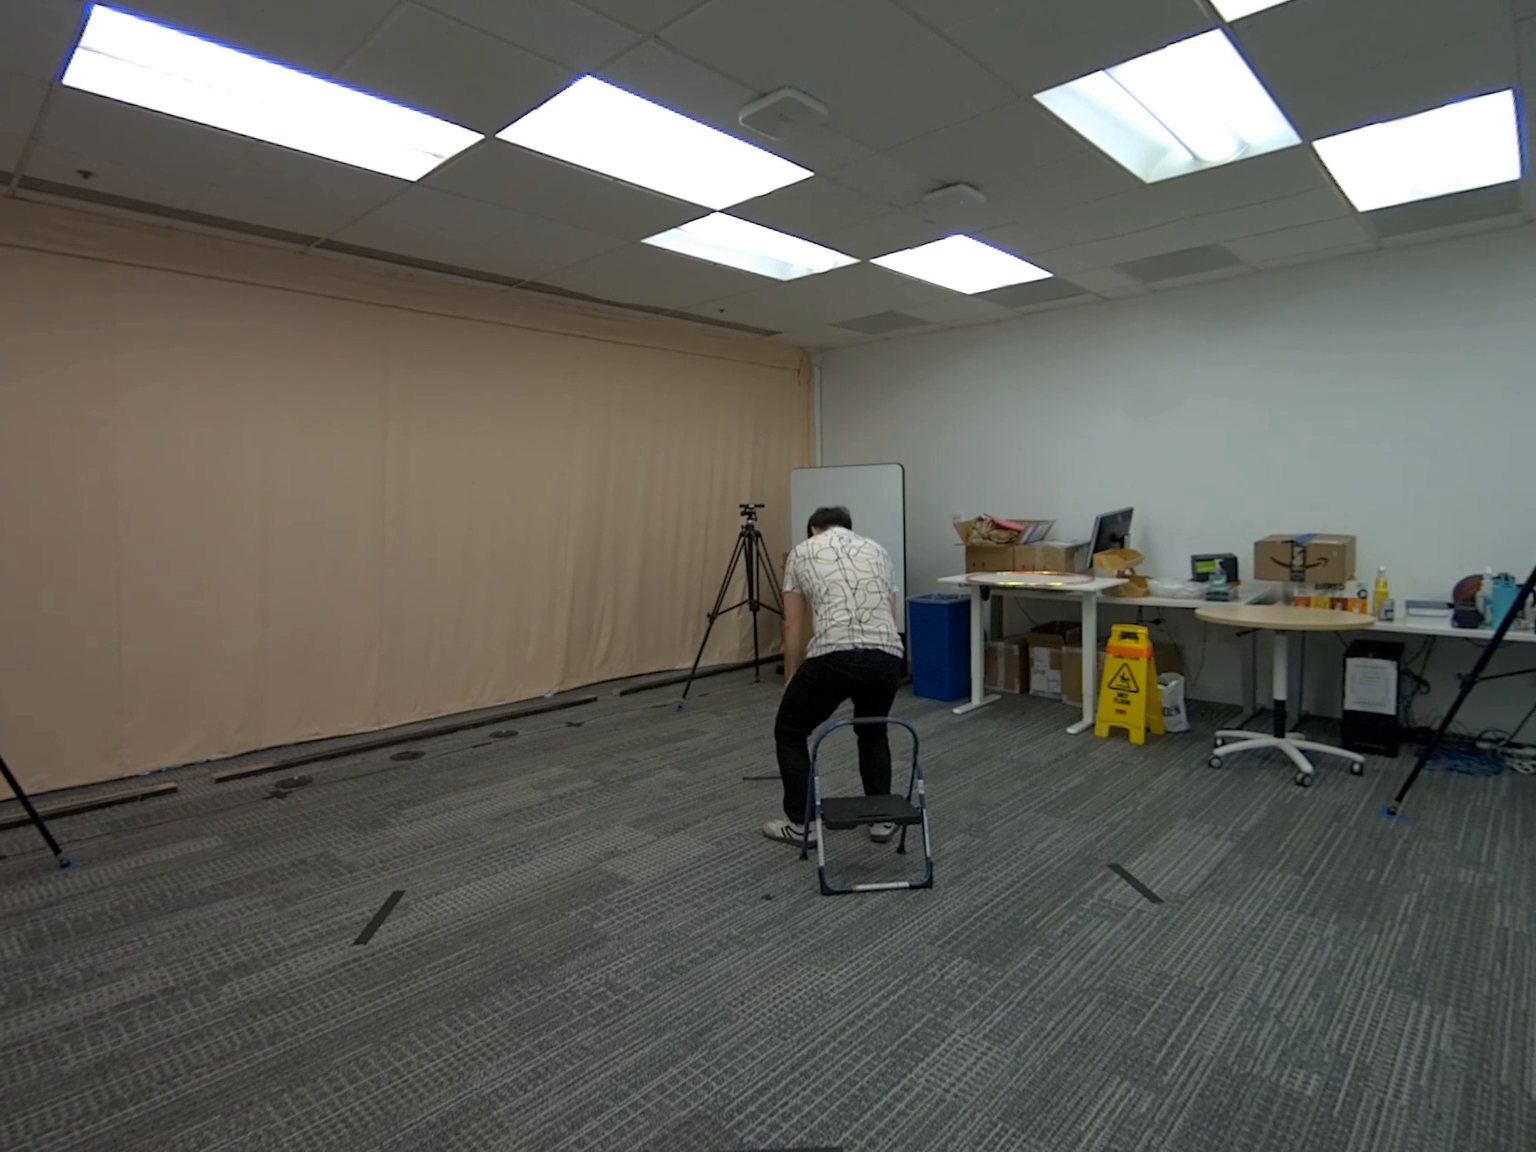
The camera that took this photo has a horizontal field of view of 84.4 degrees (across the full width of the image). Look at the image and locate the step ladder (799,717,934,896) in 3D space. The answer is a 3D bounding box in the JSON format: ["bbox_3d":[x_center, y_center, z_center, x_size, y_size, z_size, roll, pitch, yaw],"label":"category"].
[{"bbox_3d":[0.347,0.821,3.149,0.427,0.605,0.353,-2,3,-9],"label":"step ladder"}]
